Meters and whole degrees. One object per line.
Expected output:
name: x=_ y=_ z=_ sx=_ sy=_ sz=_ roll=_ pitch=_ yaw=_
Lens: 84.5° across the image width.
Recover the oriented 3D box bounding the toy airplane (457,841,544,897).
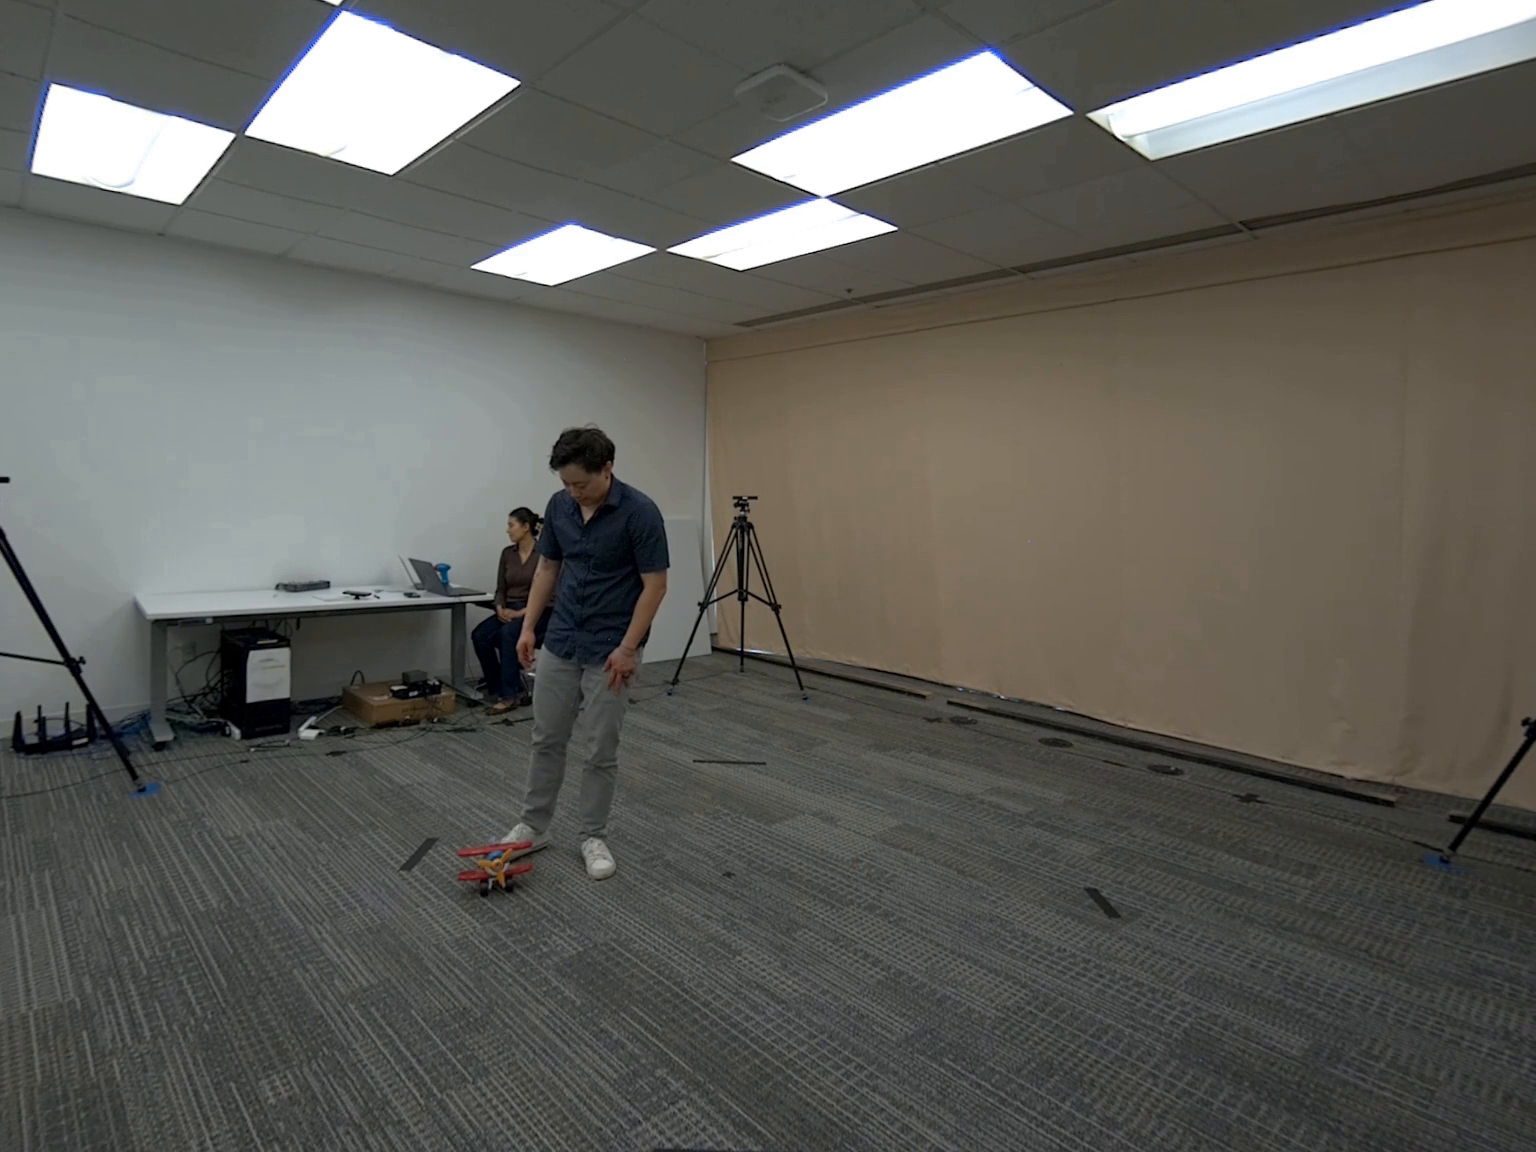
toy airplane: x=-1.001 y=1.023 z=2.985 sx=0.266 sy=0.155 sz=0.246 roll=9 pitch=12 yaw=39
